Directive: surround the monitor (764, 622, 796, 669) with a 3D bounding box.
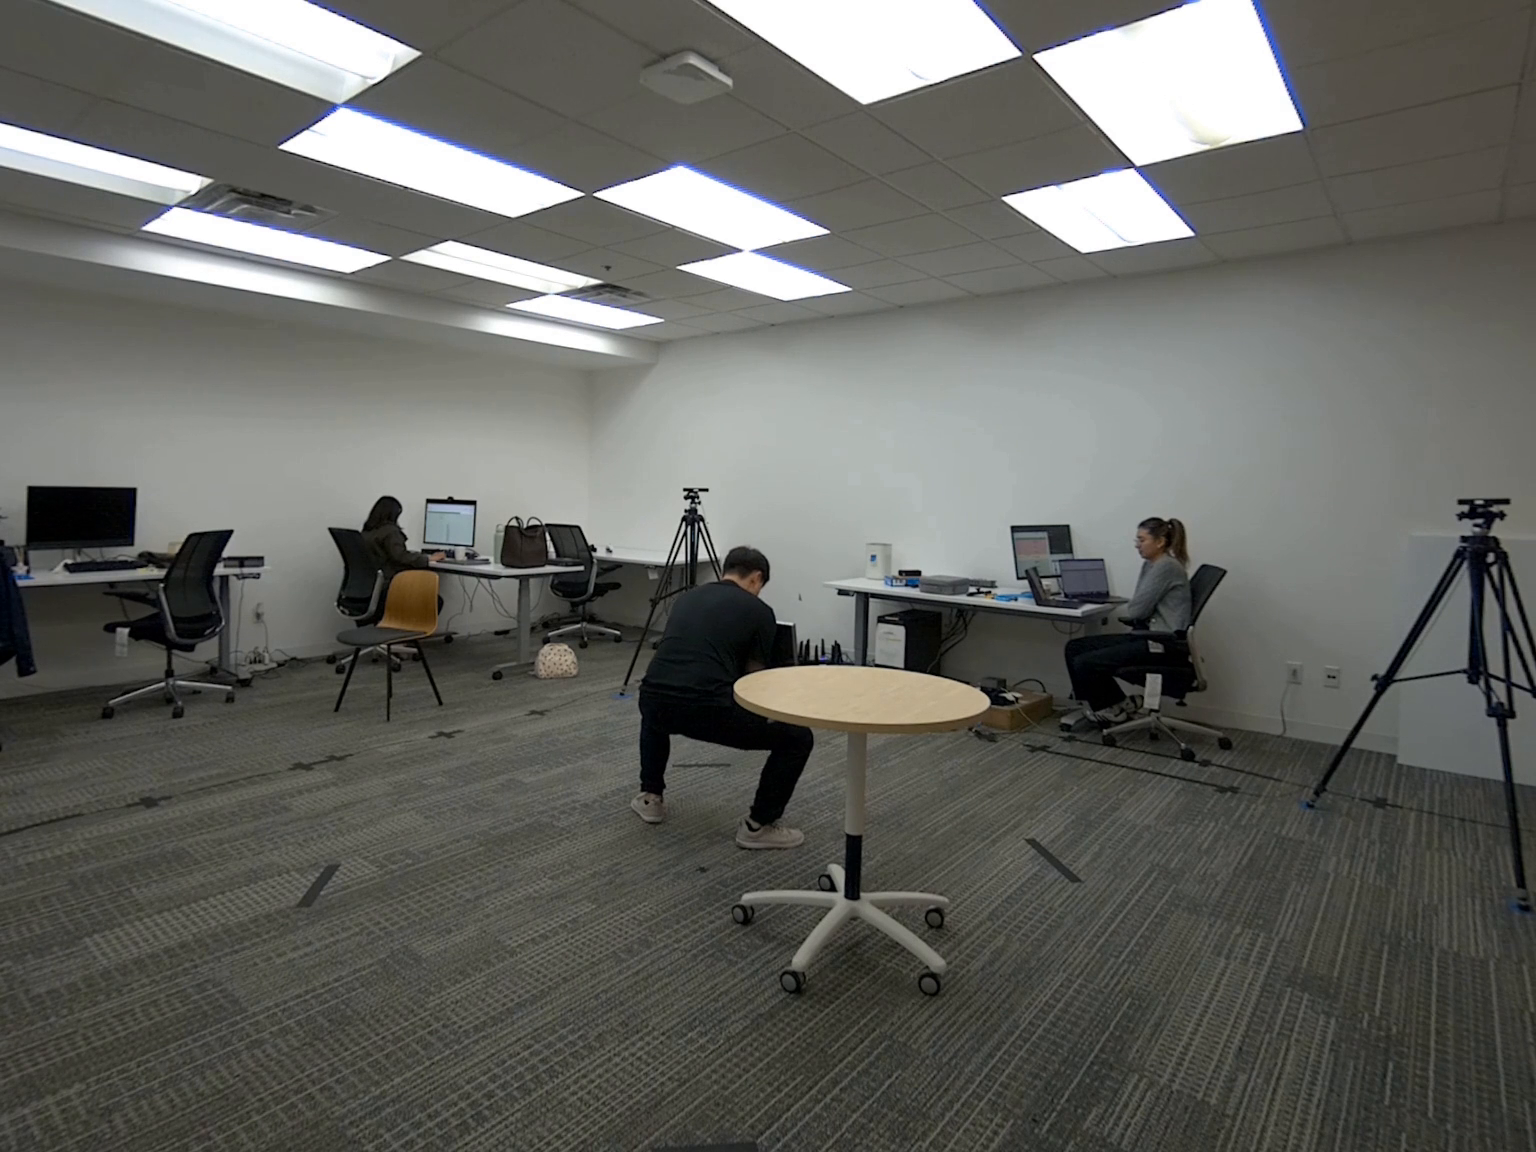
[{"bbox_3d":[-0.141,0.427,3.623,0.555,0.519,0.183,4,7,29],"label":"monitor"}]
